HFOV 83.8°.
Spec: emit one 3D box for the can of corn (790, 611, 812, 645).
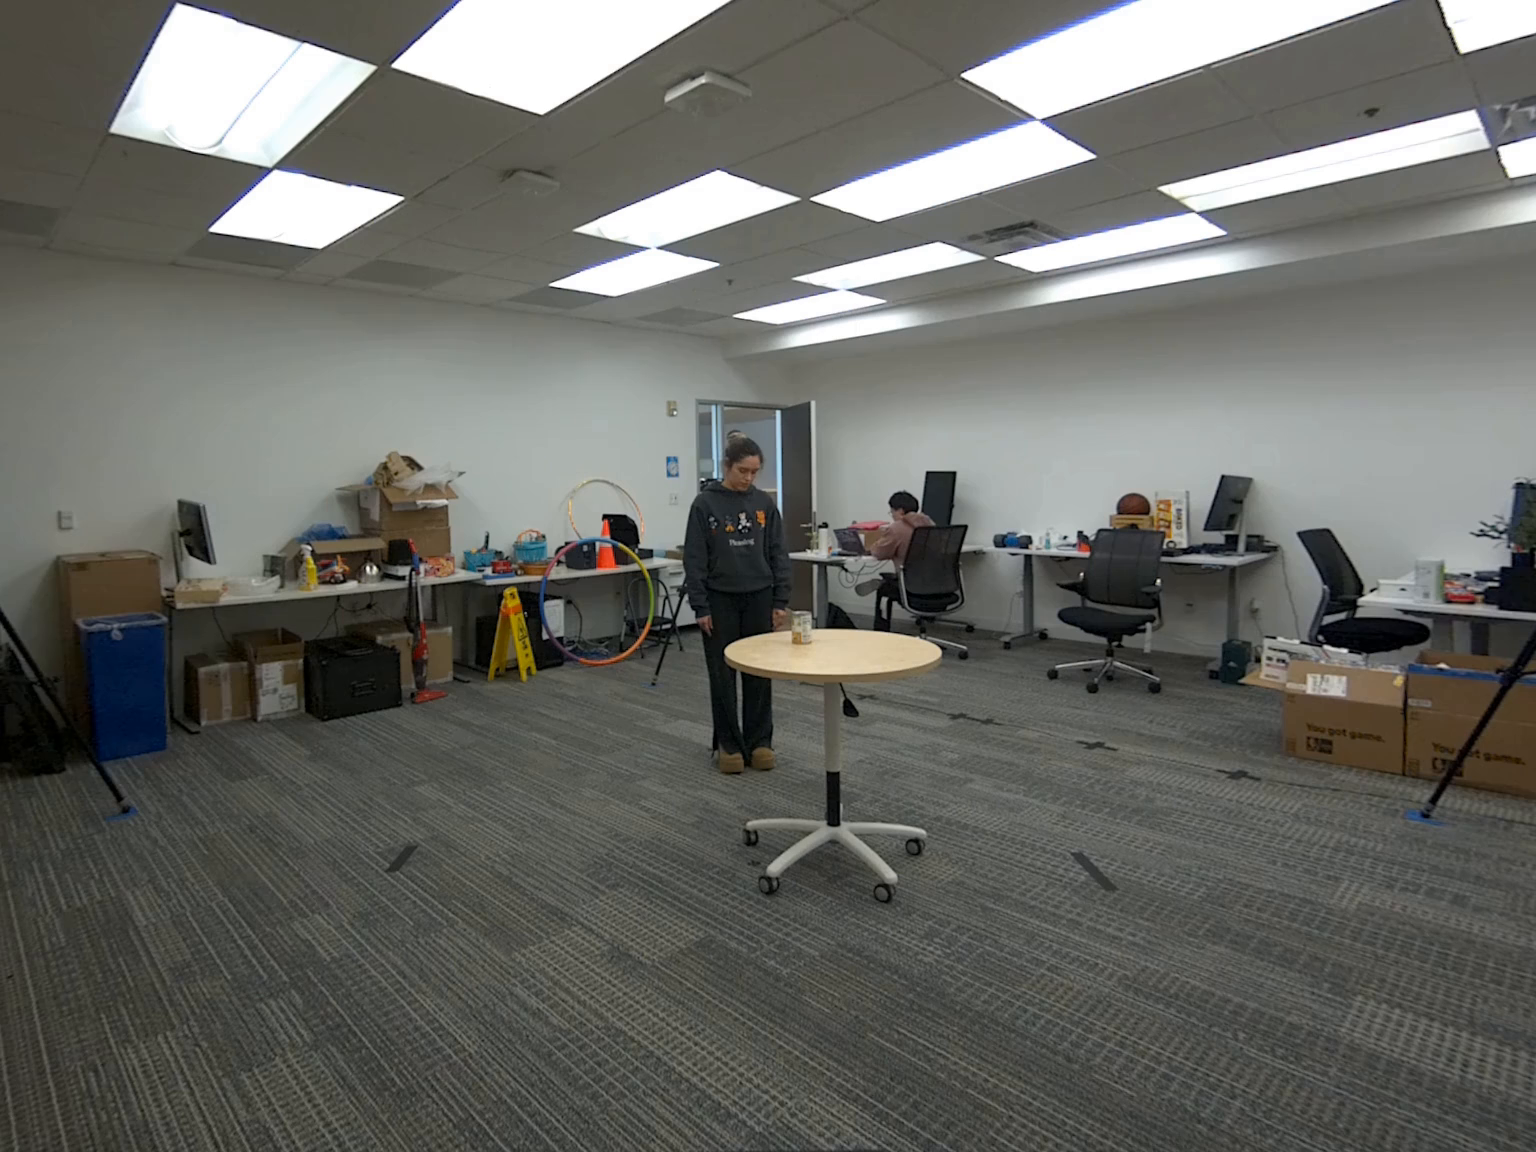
[{"bbox_3d":[0.128,0.198,3.171,0.074,0.111,0.074,-3,3,-1],"label":"can of corn"}]
